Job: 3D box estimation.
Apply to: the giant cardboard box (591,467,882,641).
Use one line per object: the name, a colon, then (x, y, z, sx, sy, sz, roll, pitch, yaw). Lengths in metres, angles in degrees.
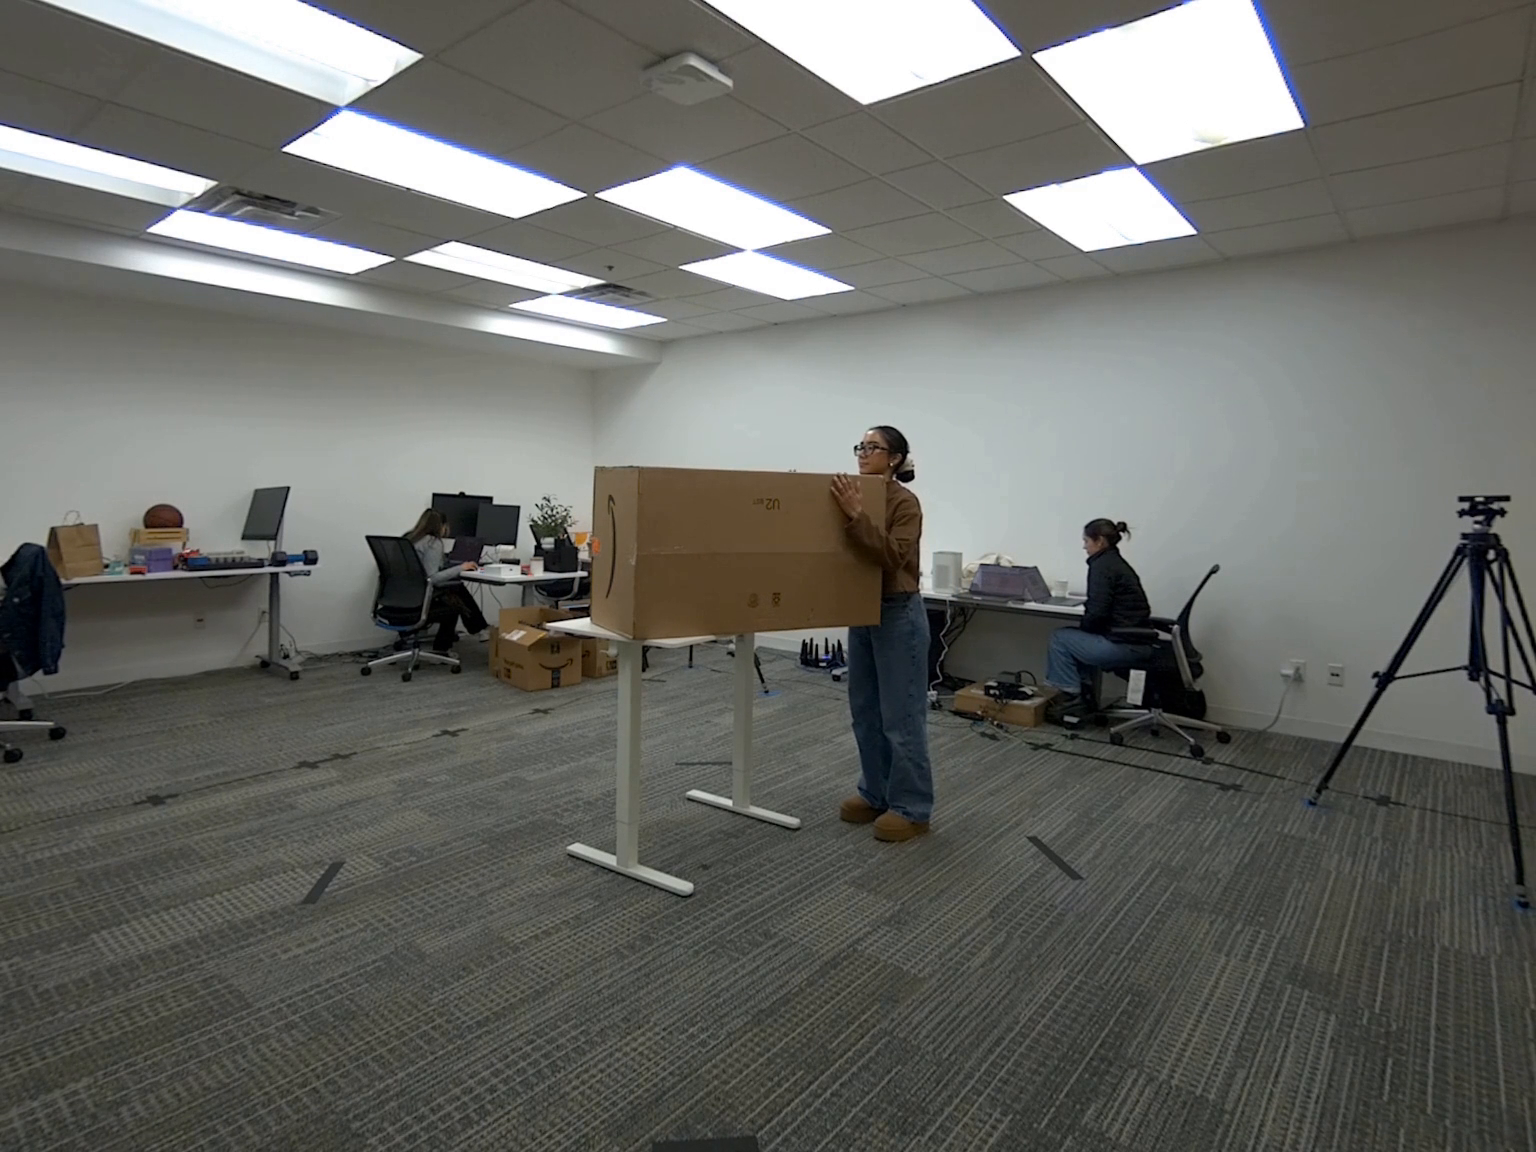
giant cardboard box: (-0.122, -0.105, 3.184, 0.999, 0.575, 0.439, -1, 5, -29)
